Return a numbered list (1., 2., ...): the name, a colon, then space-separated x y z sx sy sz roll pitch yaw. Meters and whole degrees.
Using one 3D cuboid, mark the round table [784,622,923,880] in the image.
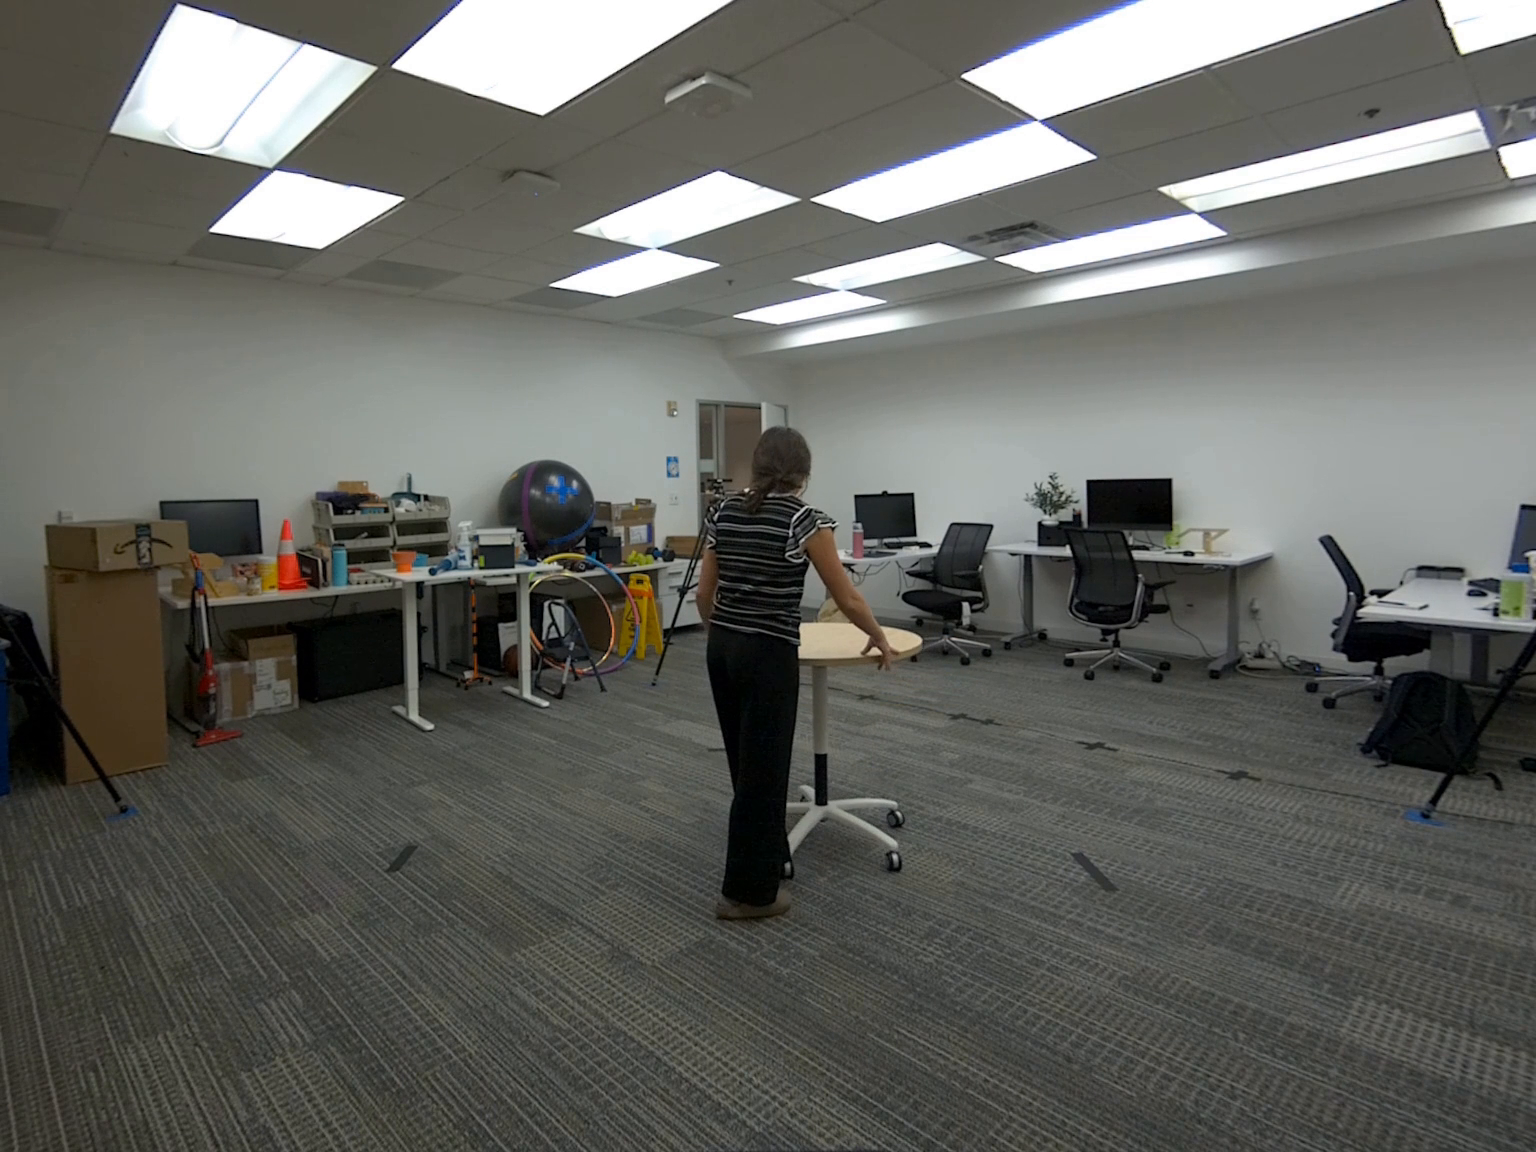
1. round table: 0.196 0.626 3.287 0.784 0.784 0.789 -1 4 -2
